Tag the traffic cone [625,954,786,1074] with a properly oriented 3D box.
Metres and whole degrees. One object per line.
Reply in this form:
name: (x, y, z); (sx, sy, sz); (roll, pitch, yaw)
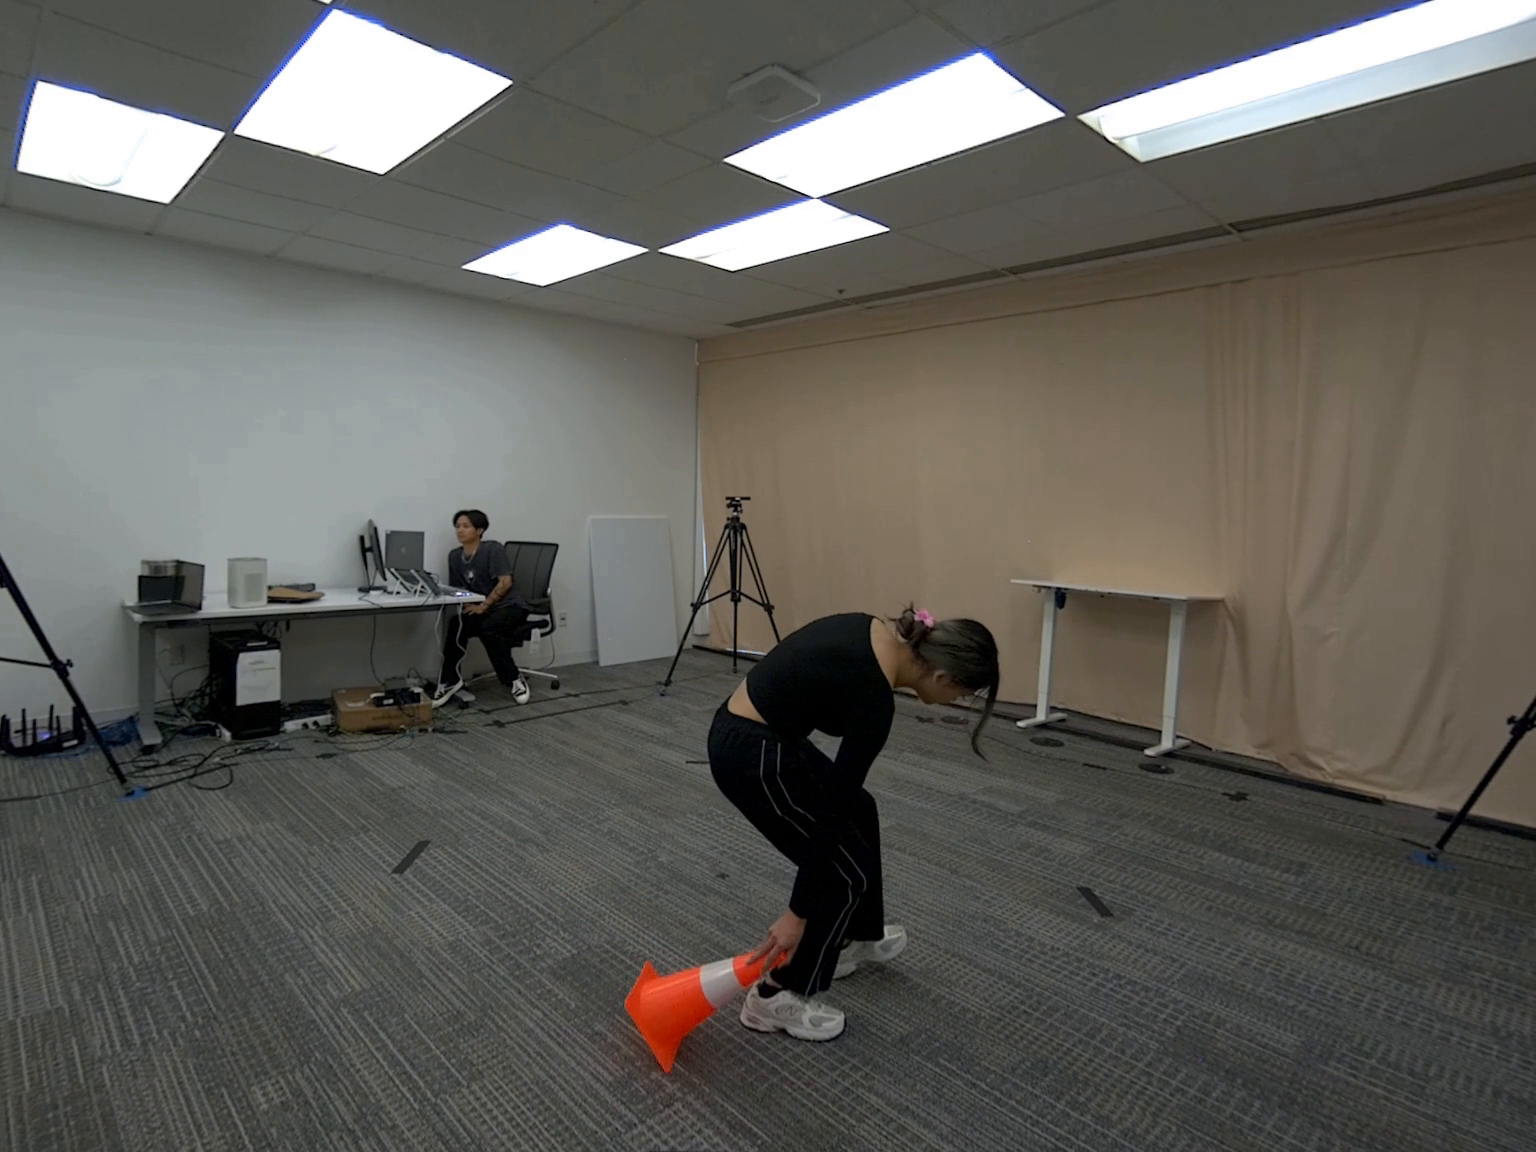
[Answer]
traffic cone: (-0.127, 1.014, 2.084); (0.385, 0.205, 0.203); (-33, -5, 13)
